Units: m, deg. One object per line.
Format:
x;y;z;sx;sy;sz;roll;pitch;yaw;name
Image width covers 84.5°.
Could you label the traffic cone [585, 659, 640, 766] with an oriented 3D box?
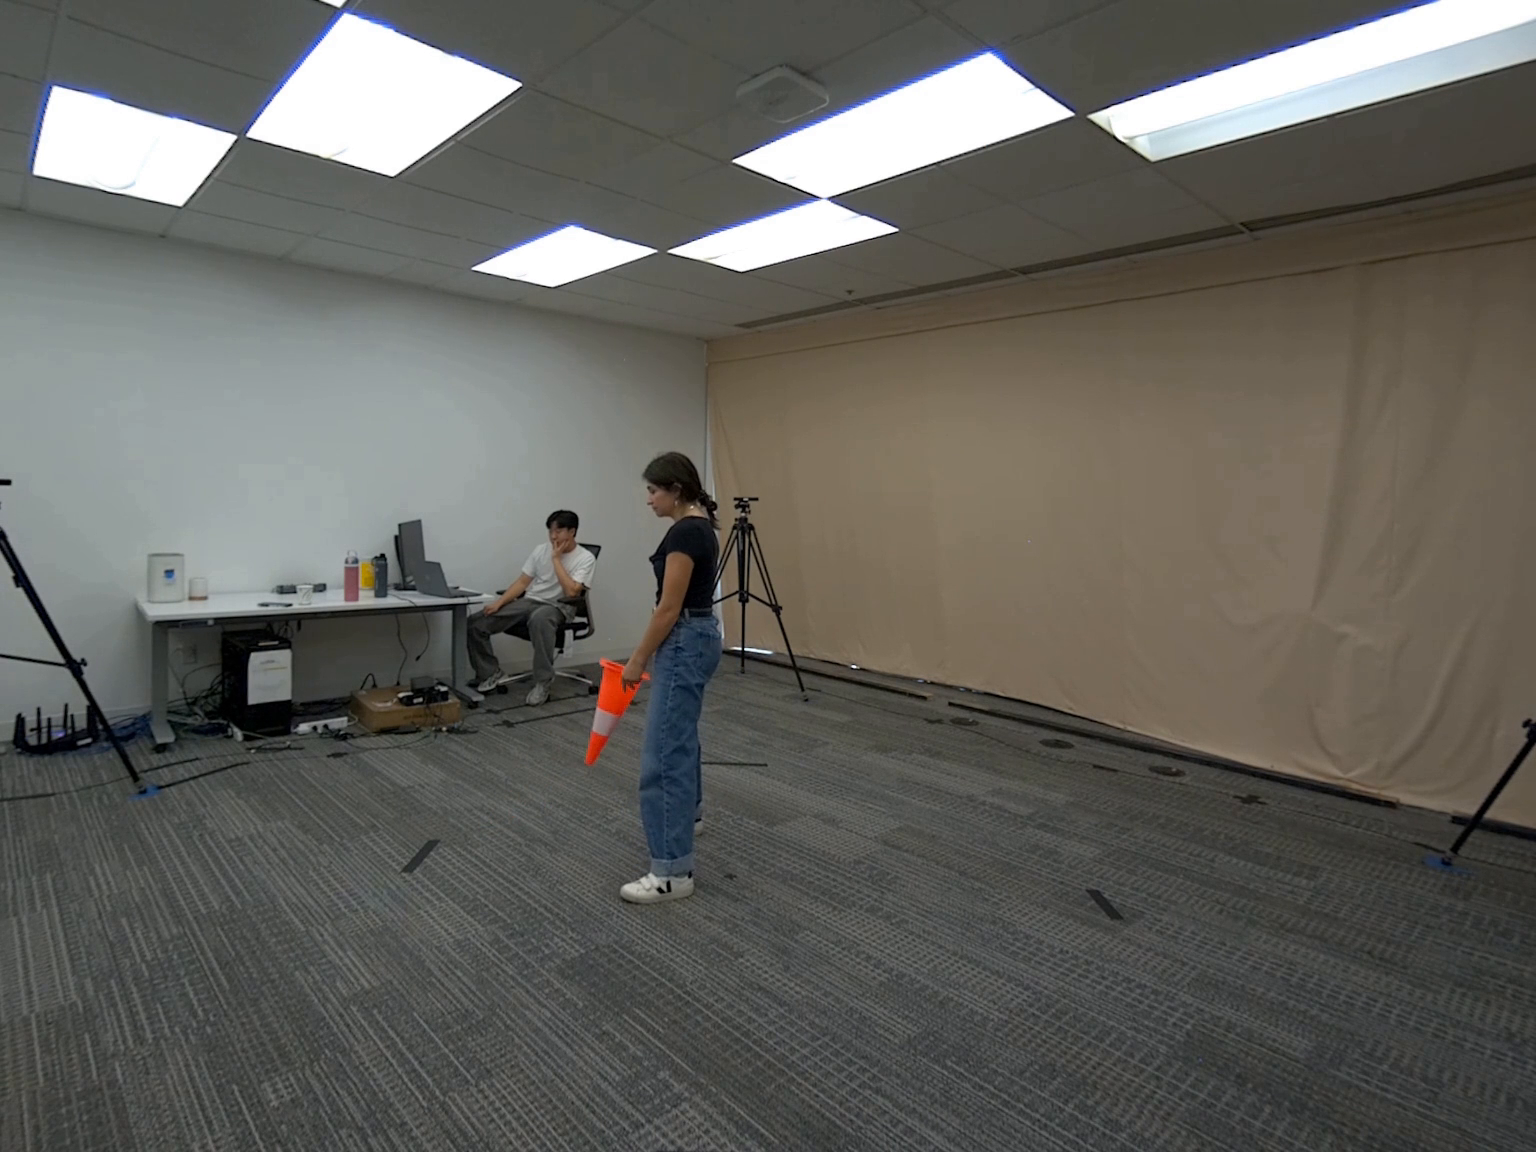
-0.626;0.534;3.190;0.207;0.384;0.201;23;-6;7;traffic cone
